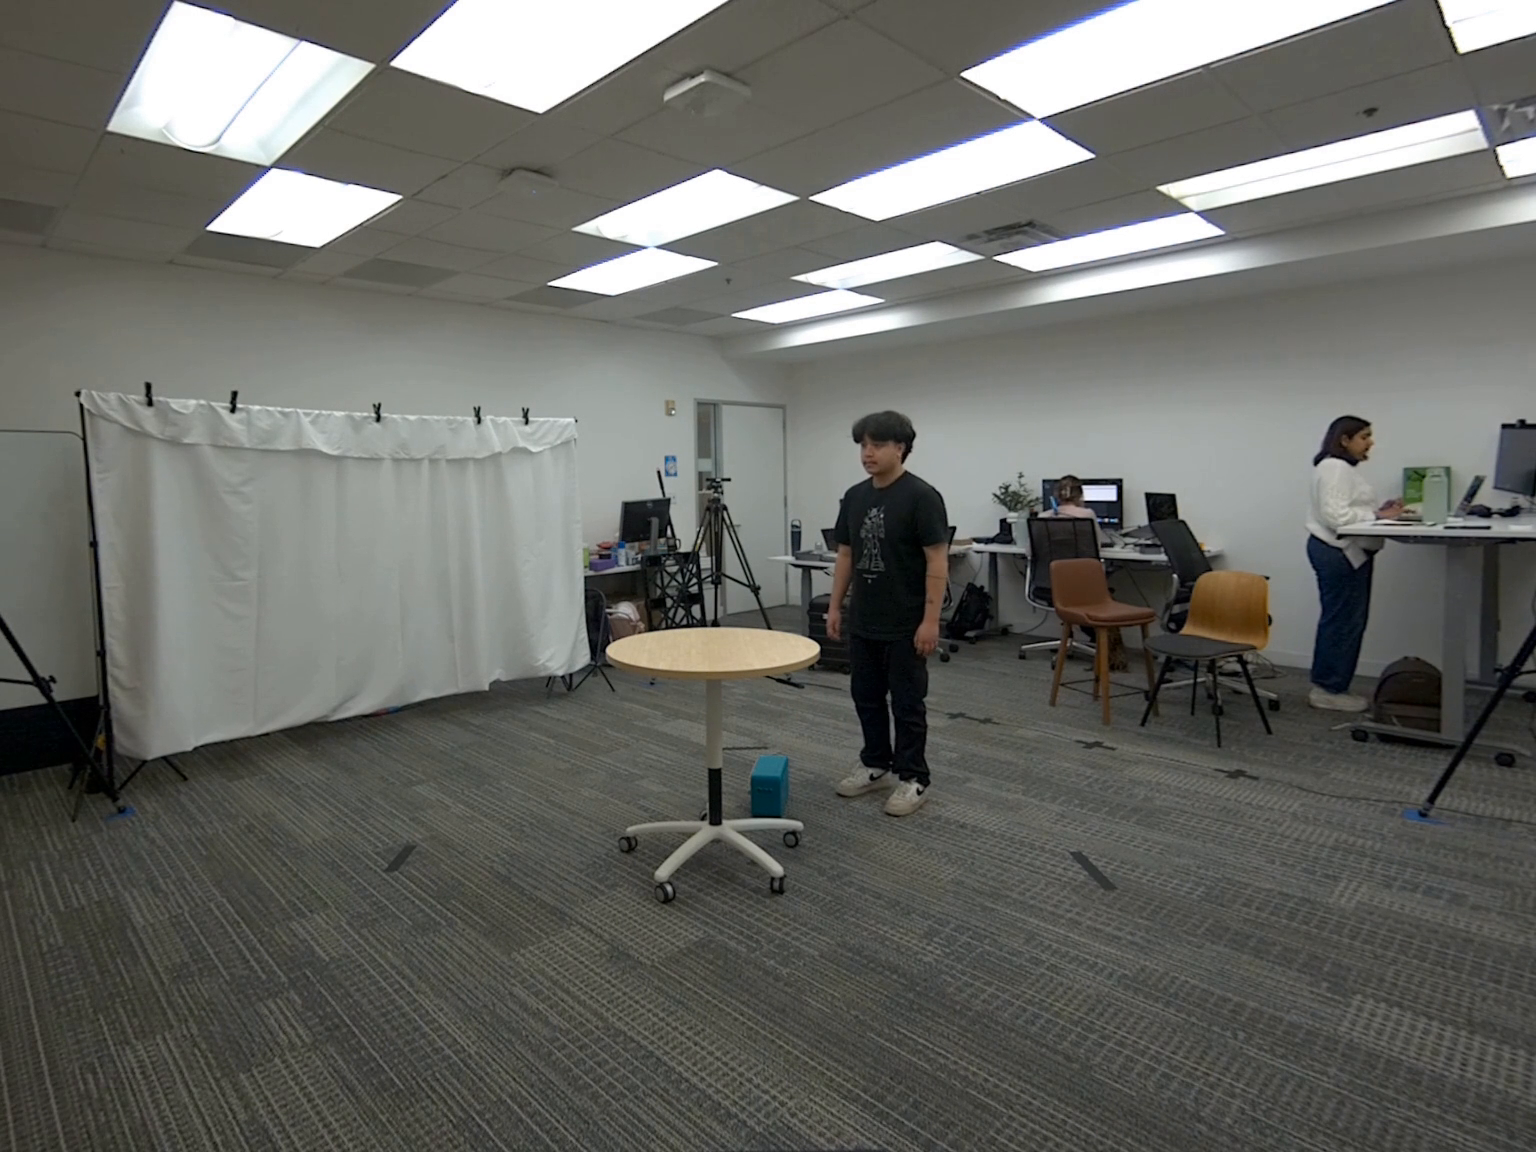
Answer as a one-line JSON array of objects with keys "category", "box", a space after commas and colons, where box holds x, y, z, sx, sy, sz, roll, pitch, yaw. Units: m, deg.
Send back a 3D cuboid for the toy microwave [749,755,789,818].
[{"category": "toy microwave", "box": [-0.003, 0.885, 3.624, 0.154, 0.183, 0.285, 2, 6, 9]}]
